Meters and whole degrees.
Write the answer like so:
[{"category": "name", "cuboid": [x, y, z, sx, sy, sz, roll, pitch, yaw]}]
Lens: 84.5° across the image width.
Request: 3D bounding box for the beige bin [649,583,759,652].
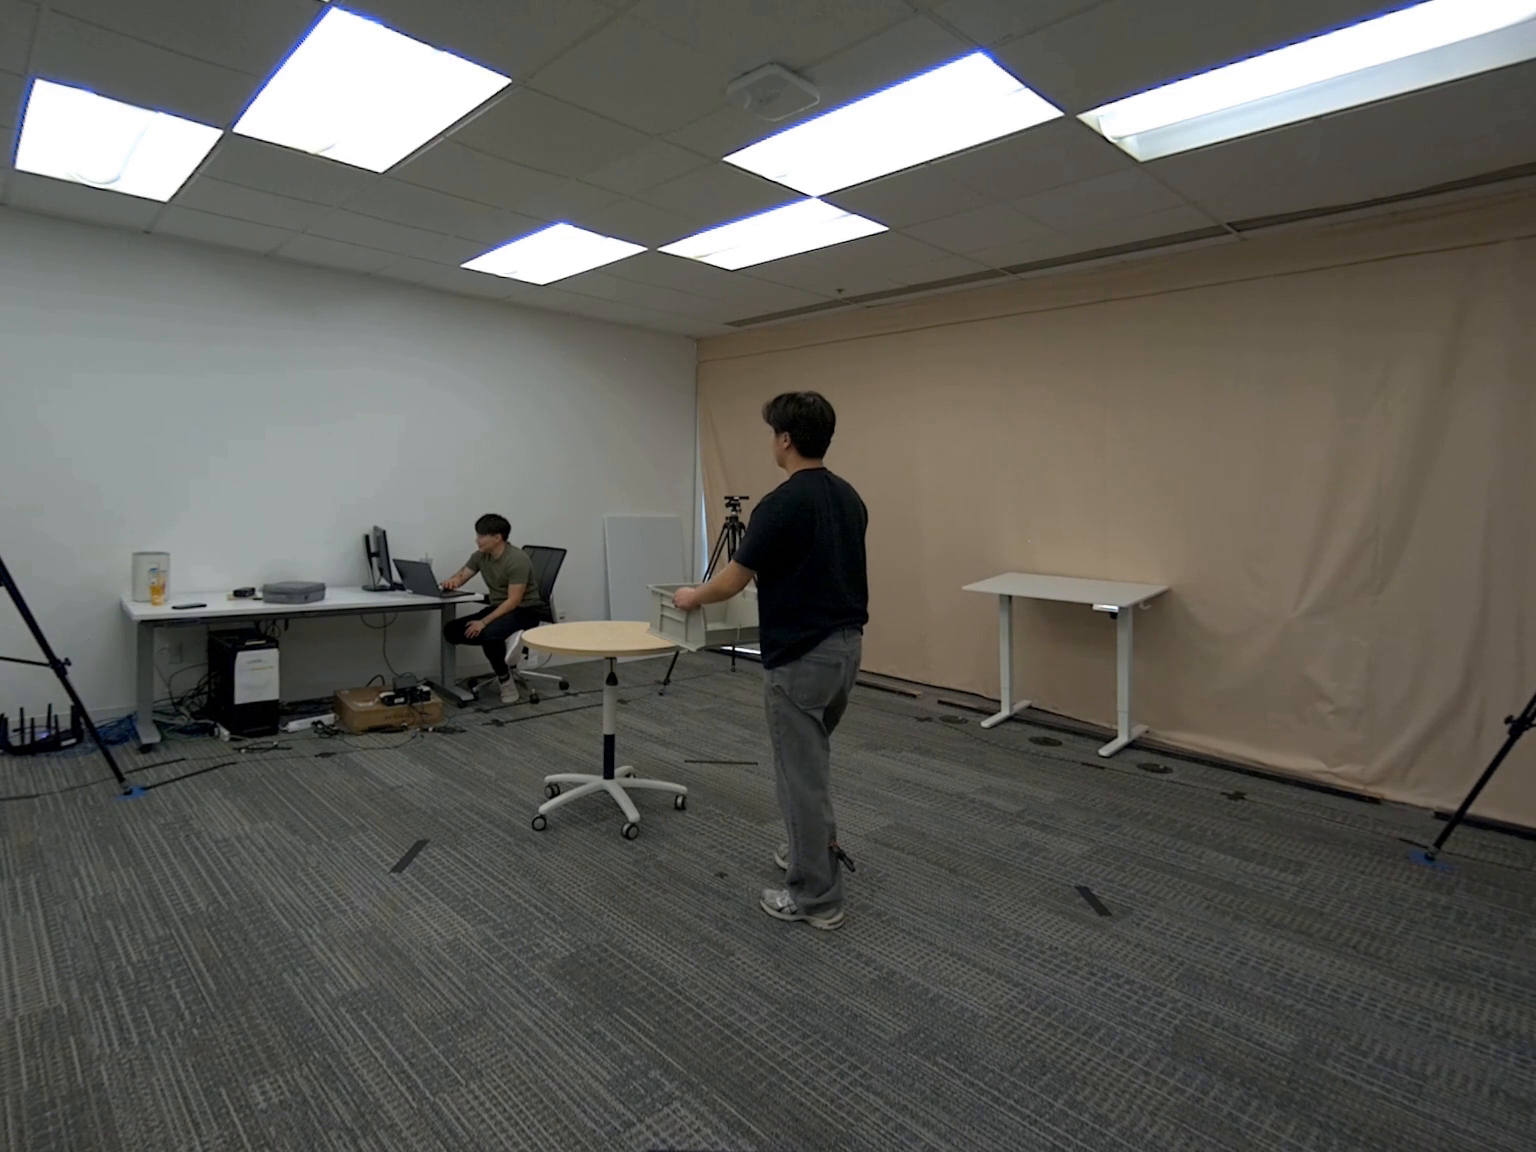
[{"category": "beige bin", "cuboid": [-0.194, 0.159, 3.190, 0.413, 0.188, 0.387, -4, 10, -40]}]
